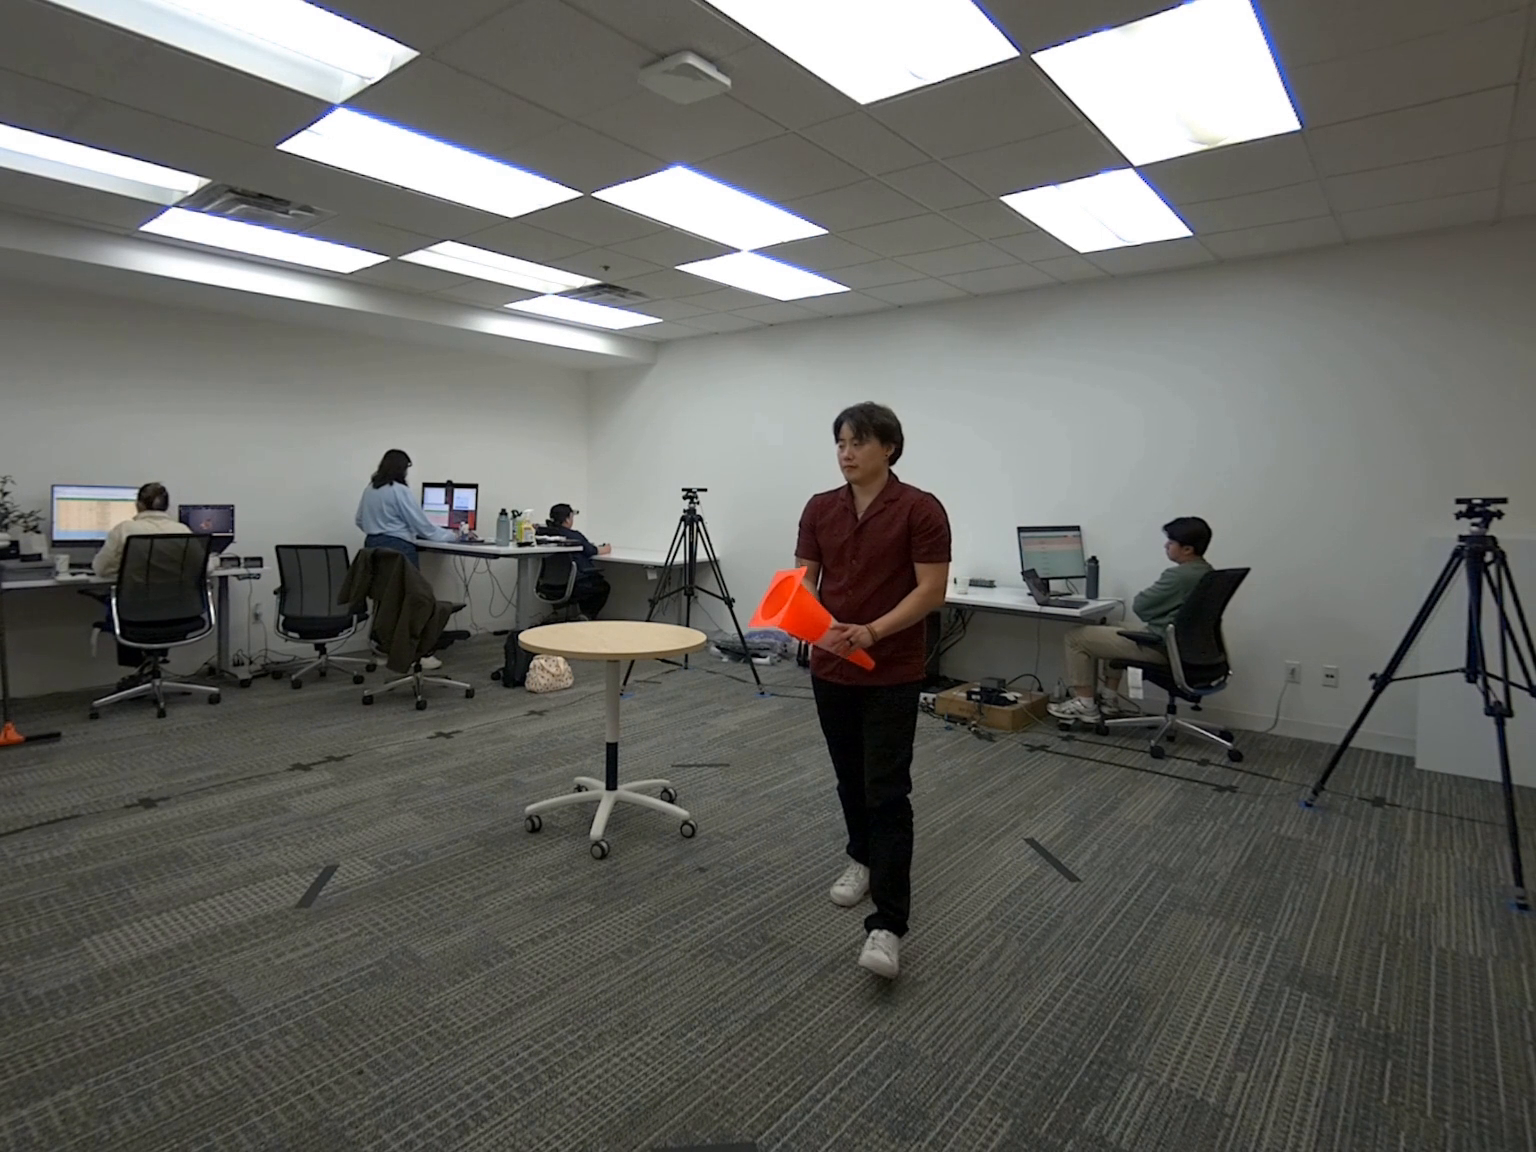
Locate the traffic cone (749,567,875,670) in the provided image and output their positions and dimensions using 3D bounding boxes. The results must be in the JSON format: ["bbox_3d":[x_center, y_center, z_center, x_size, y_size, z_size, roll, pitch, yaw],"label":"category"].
[{"bbox_3d":[0.169,0.165,2.535,0.374,0.205,0.209,36,-23,-18],"label":"traffic cone"}]
